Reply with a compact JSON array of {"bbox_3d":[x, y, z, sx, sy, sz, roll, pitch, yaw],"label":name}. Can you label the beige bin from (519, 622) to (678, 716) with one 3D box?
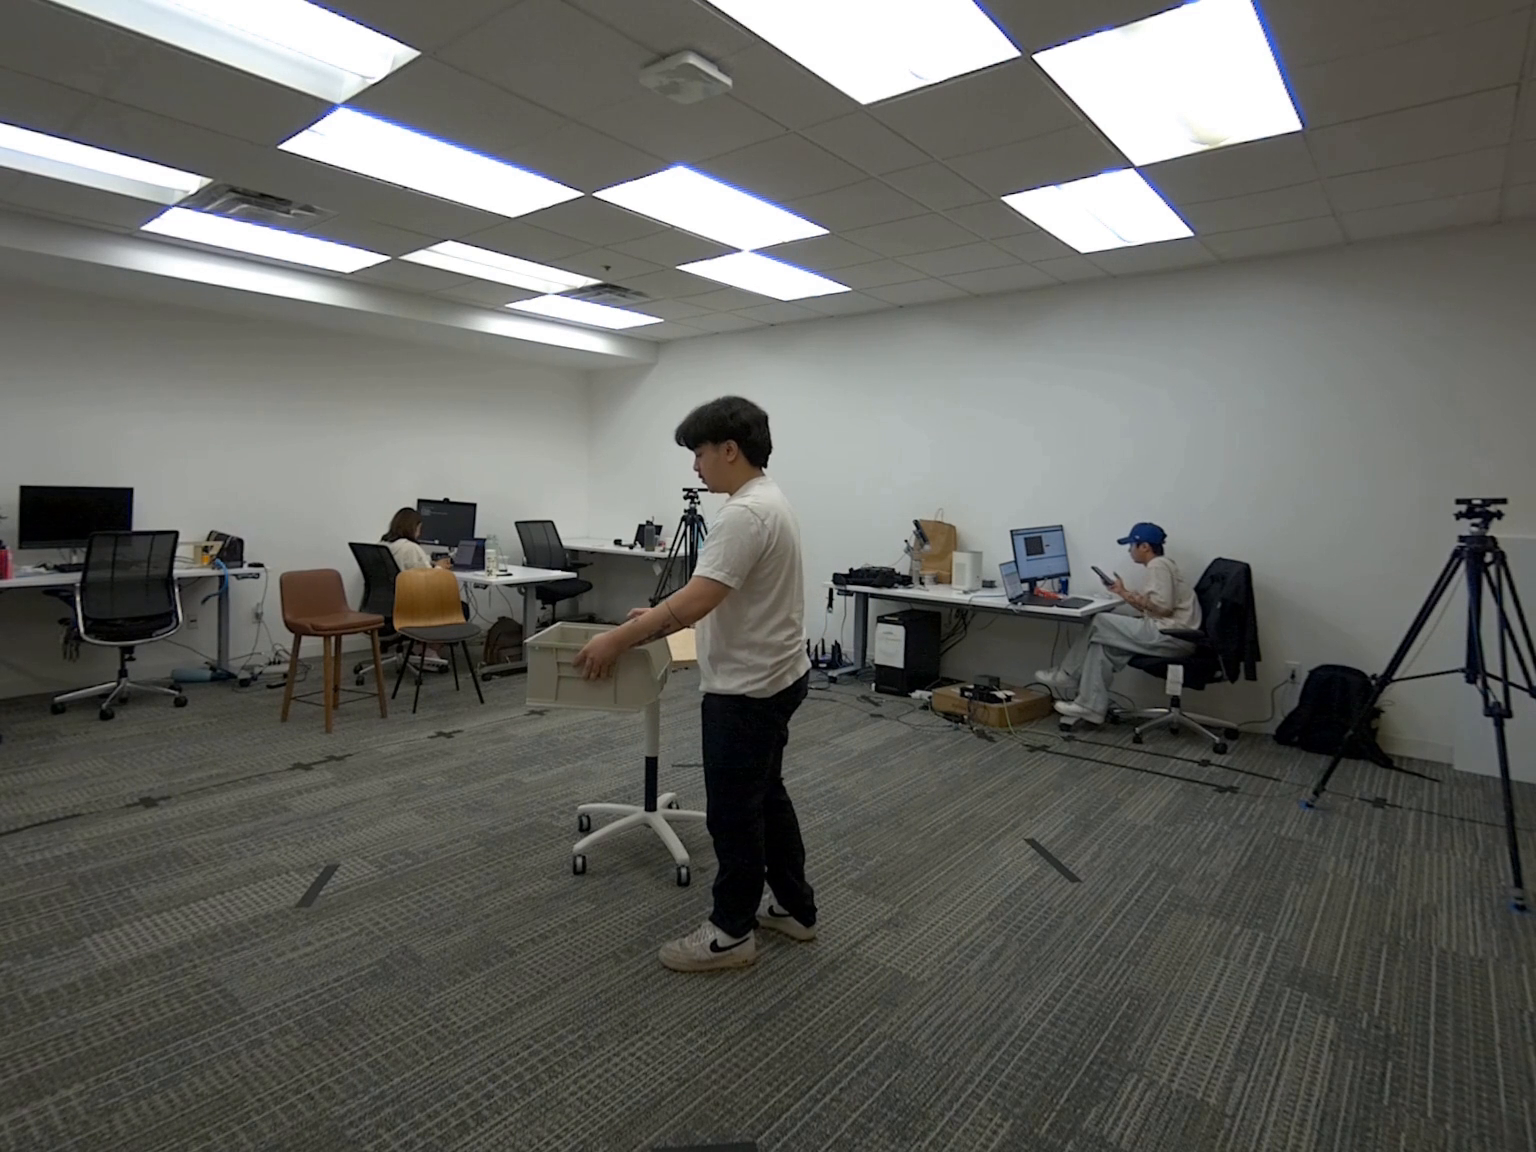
[{"bbox_3d":[-0.492,0.265,2.525,0.379,0.188,0.422,-2,5,3],"label":"beige bin"}]
